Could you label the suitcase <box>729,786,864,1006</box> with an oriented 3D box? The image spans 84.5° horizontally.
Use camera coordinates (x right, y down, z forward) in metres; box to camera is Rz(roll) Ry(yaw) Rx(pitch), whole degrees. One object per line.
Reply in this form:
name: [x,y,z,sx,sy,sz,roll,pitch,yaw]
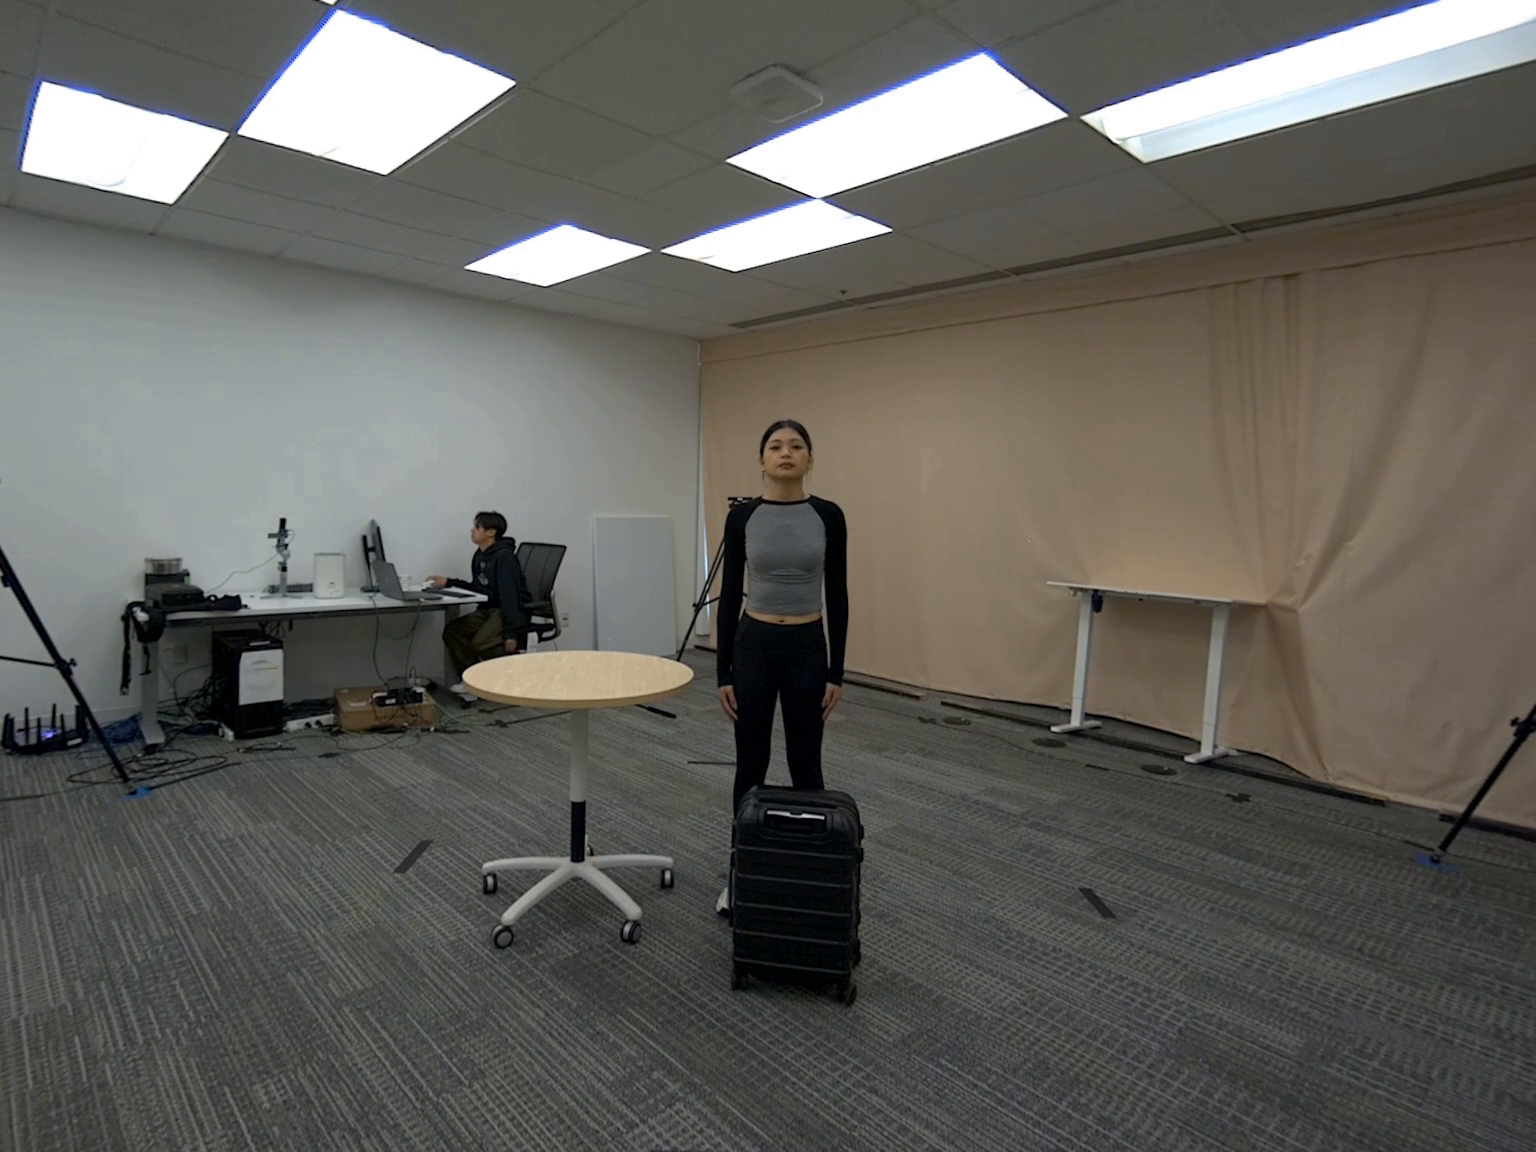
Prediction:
suitcase: [0.071,0.899,2.435,0.378,0.547,0.247,2,5,10]
